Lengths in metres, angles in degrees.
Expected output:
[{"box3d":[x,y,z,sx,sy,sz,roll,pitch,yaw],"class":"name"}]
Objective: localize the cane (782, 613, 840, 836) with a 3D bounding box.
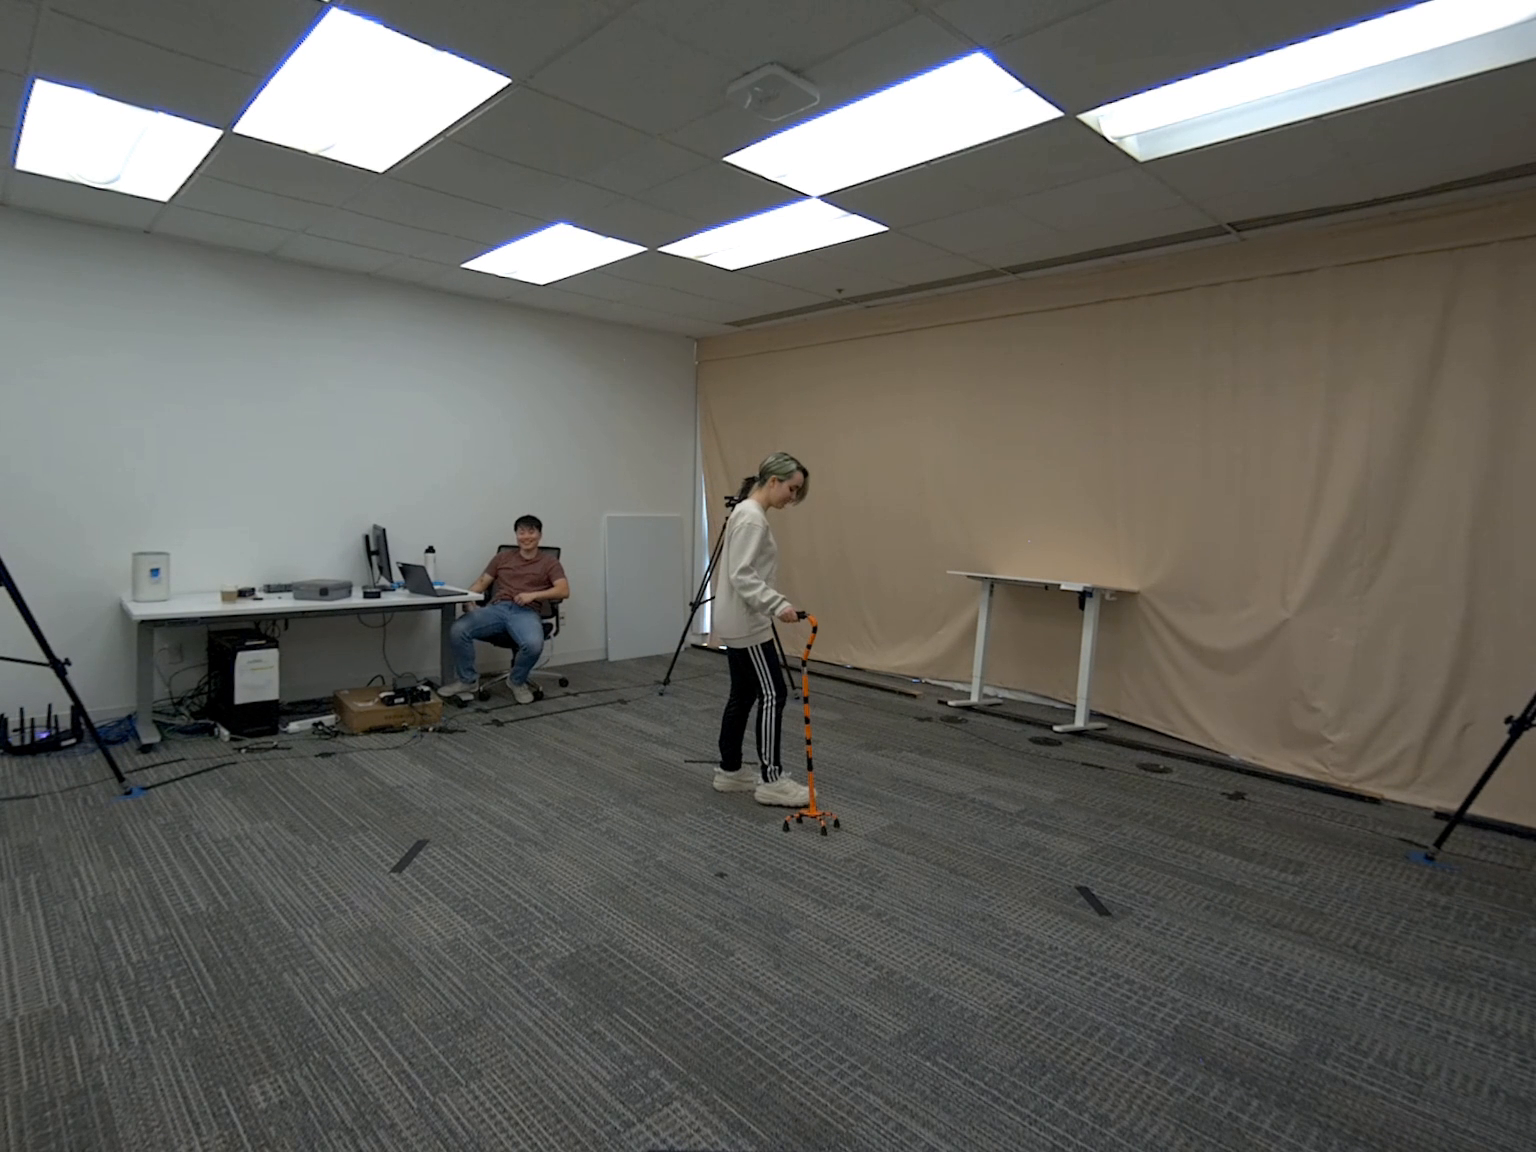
[{"box3d":[0.154,0.608,3.561,0.210,0.909,0.148,-3,-2,28],"class":"cane"}]
